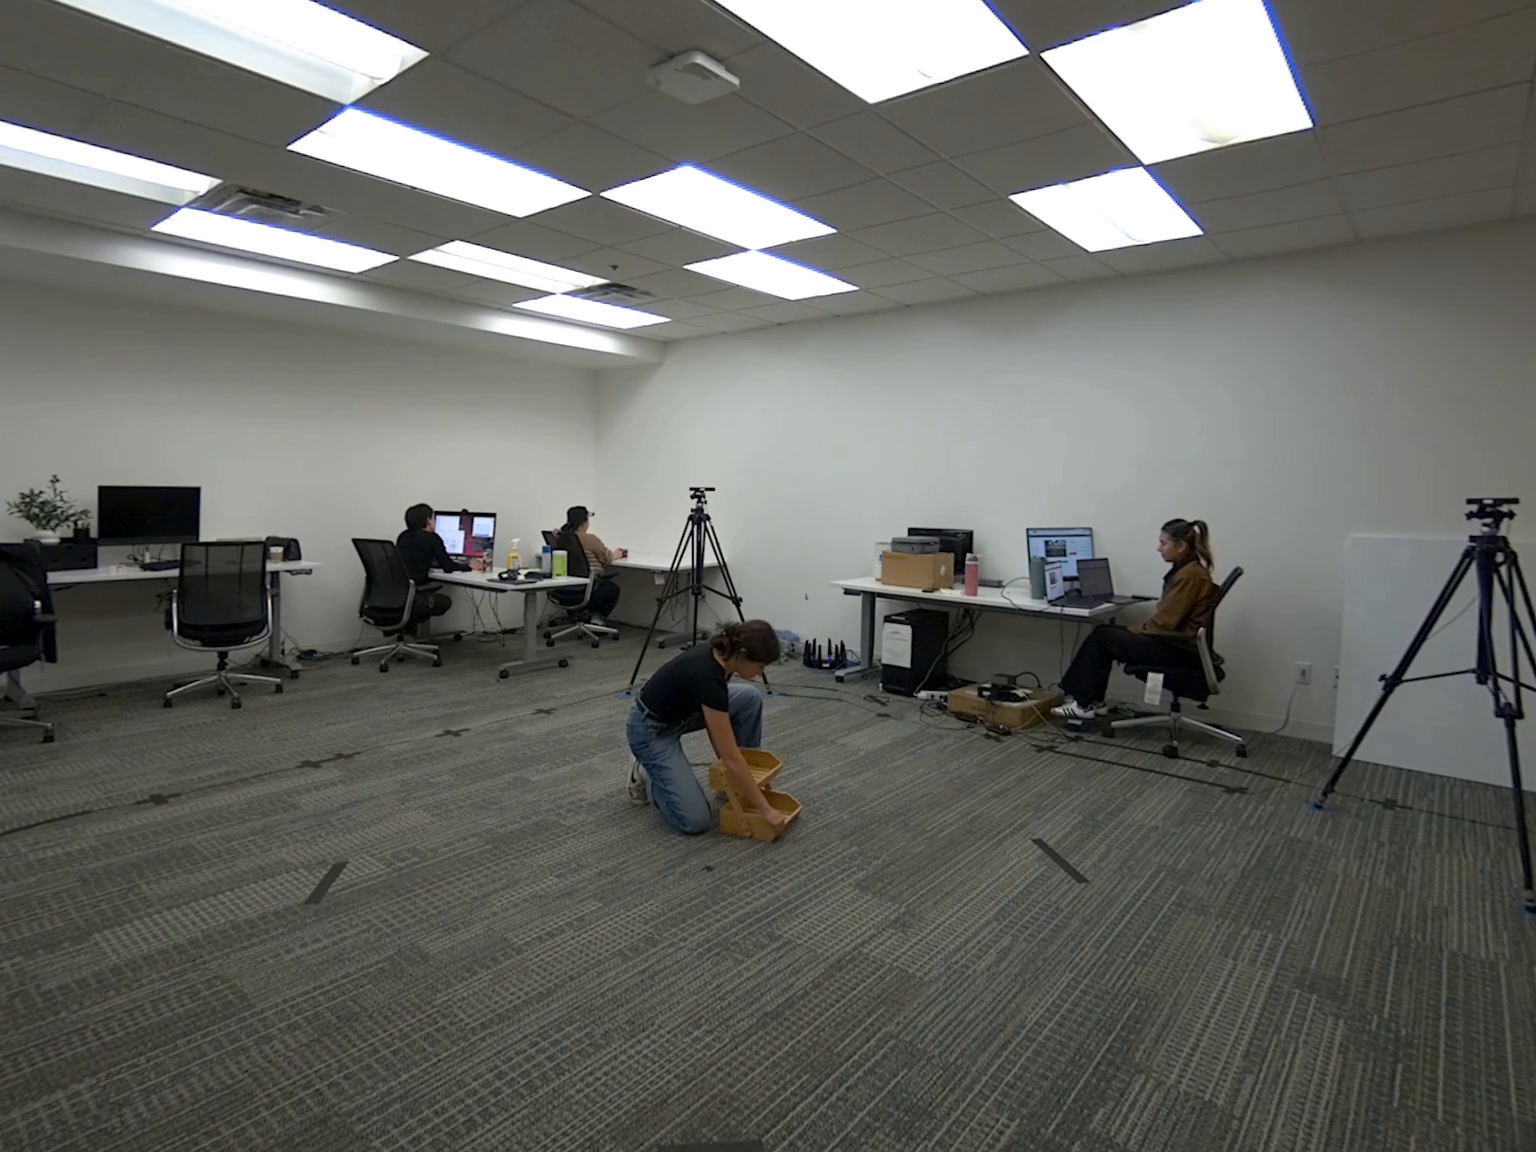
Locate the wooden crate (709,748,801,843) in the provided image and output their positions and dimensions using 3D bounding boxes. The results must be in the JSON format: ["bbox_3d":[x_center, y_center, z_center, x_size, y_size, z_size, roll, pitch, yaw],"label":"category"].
[{"bbox_3d":[-0.054,0.895,3.537,0.309,0.272,0.317,2,4,23],"label":"wooden crate"}]
